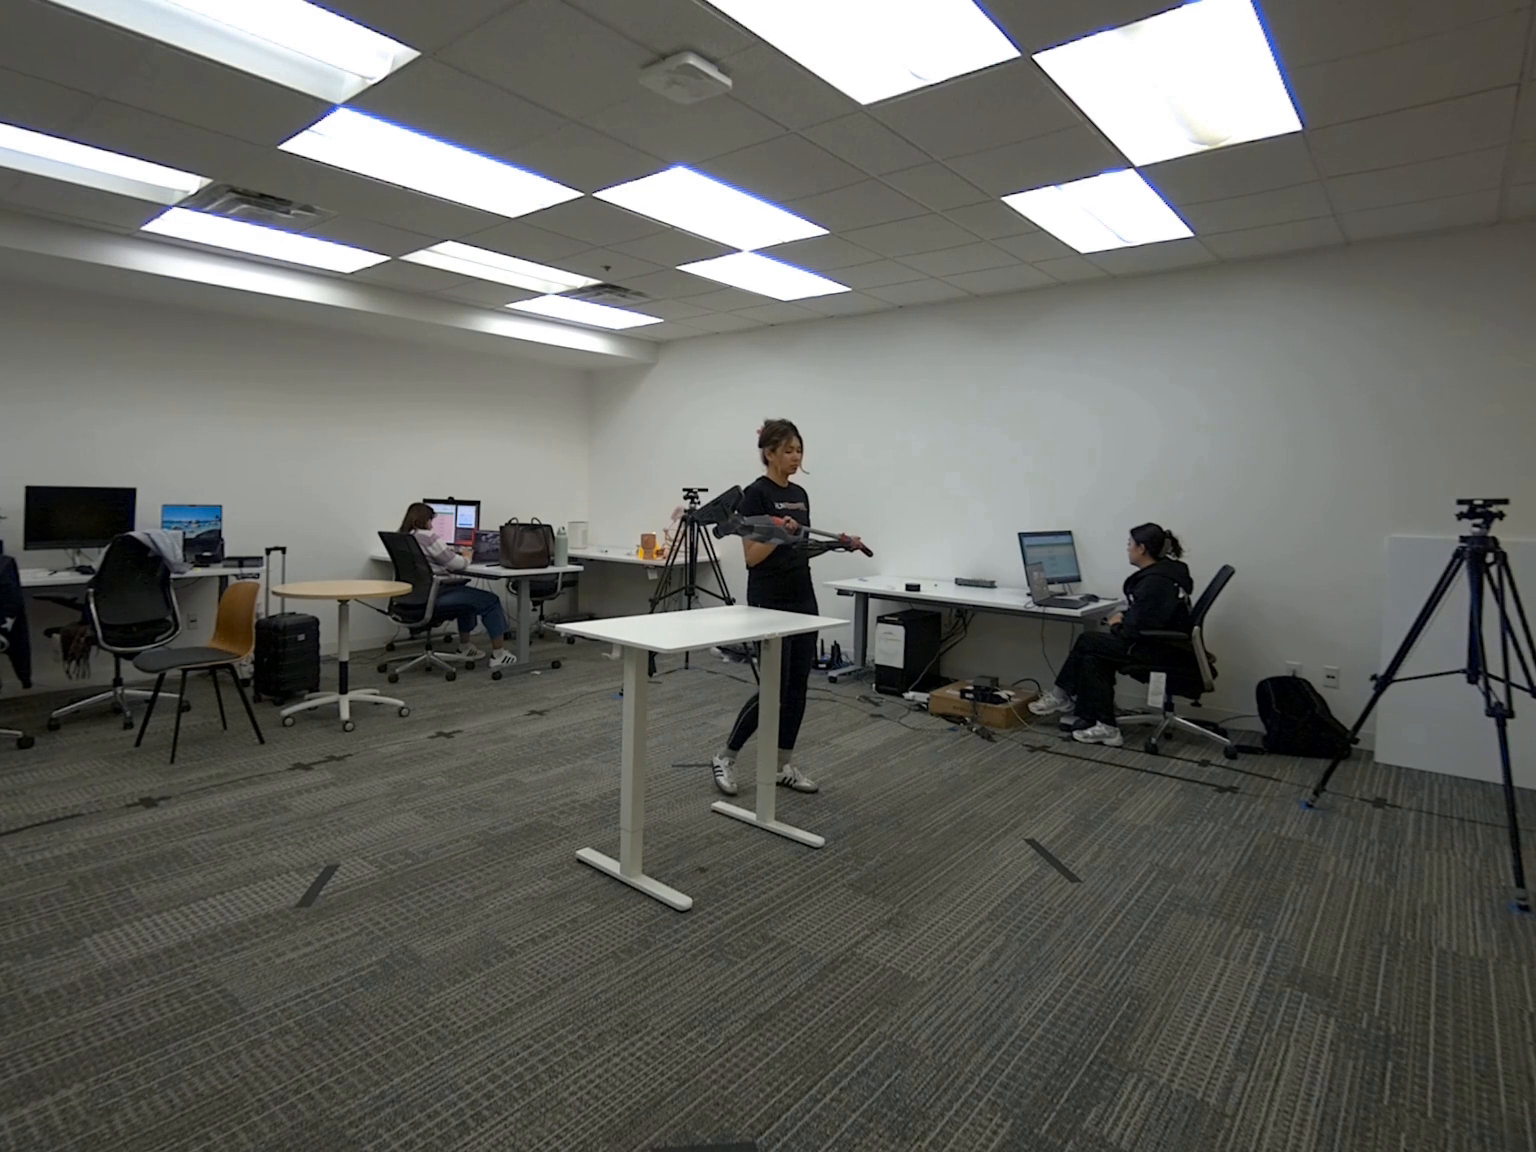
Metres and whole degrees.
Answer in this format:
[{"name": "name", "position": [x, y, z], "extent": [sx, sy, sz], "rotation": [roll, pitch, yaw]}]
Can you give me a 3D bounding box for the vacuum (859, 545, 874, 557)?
[{"name": "vacuum", "position": [0.138, -0.174, 3.634], "extent": [0.256, 0.148, 1.011], "rotation": [-30, -27, 36]}]
